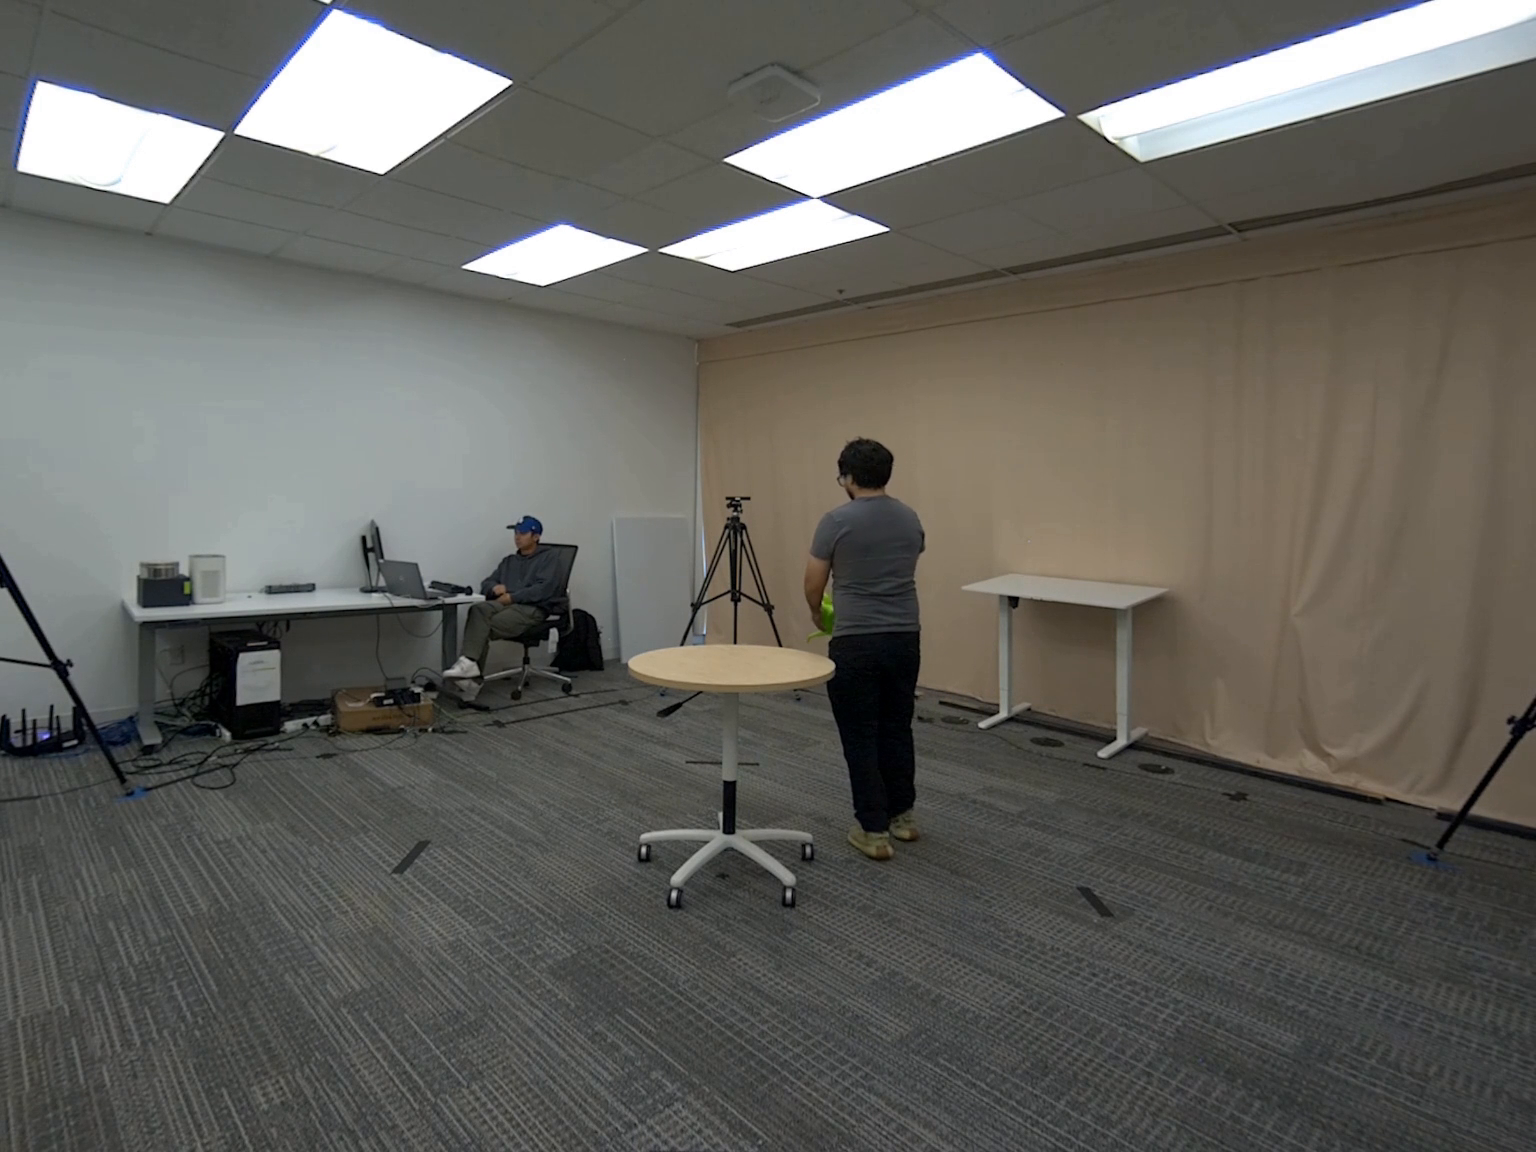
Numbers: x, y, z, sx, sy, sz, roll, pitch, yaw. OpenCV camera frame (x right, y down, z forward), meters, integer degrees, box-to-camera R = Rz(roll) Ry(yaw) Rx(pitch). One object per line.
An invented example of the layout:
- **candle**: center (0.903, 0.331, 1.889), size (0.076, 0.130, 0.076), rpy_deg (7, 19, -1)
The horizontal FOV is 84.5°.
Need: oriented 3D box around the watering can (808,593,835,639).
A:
- **watering can**: center (0.266, 0.207, 3.781), size (0.097, 0.272, 0.182), rpy_deg (-22, 34, -19)
